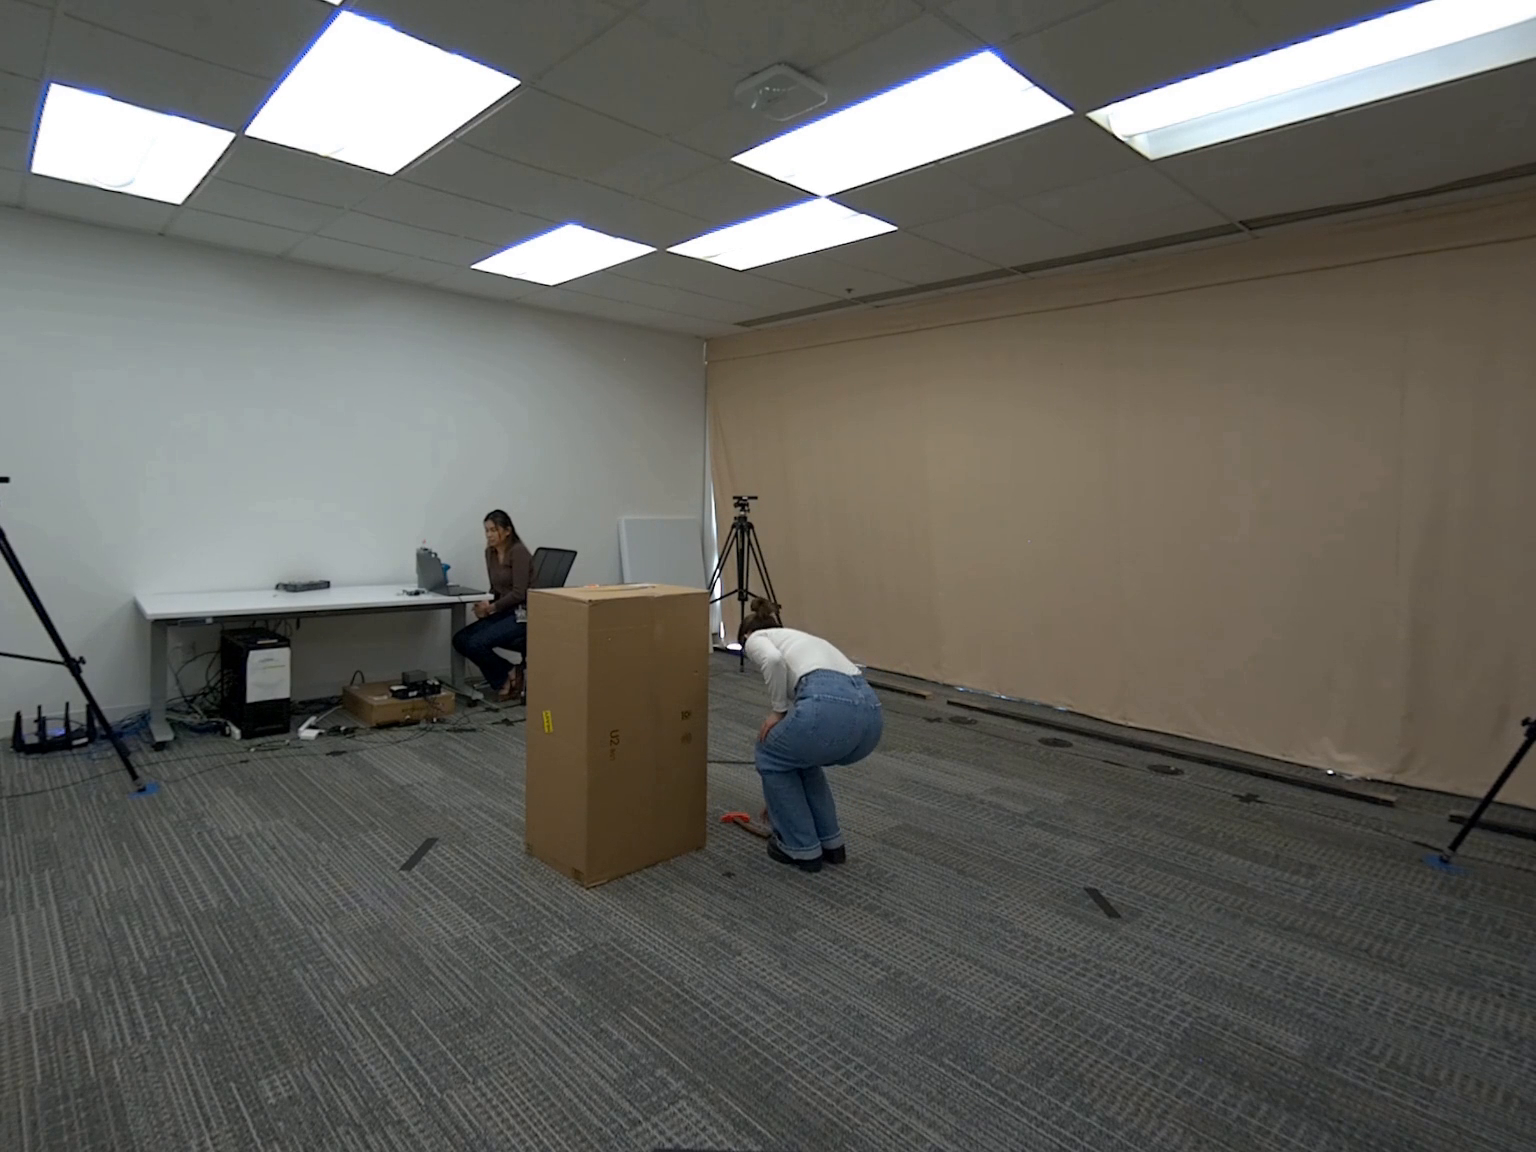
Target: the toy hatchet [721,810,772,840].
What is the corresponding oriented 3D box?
[{"bbox_3d":[-0.077,1.053,3.568,0.277,0.029,0.128,9,9,41],"label":"toy hatchet"}]
